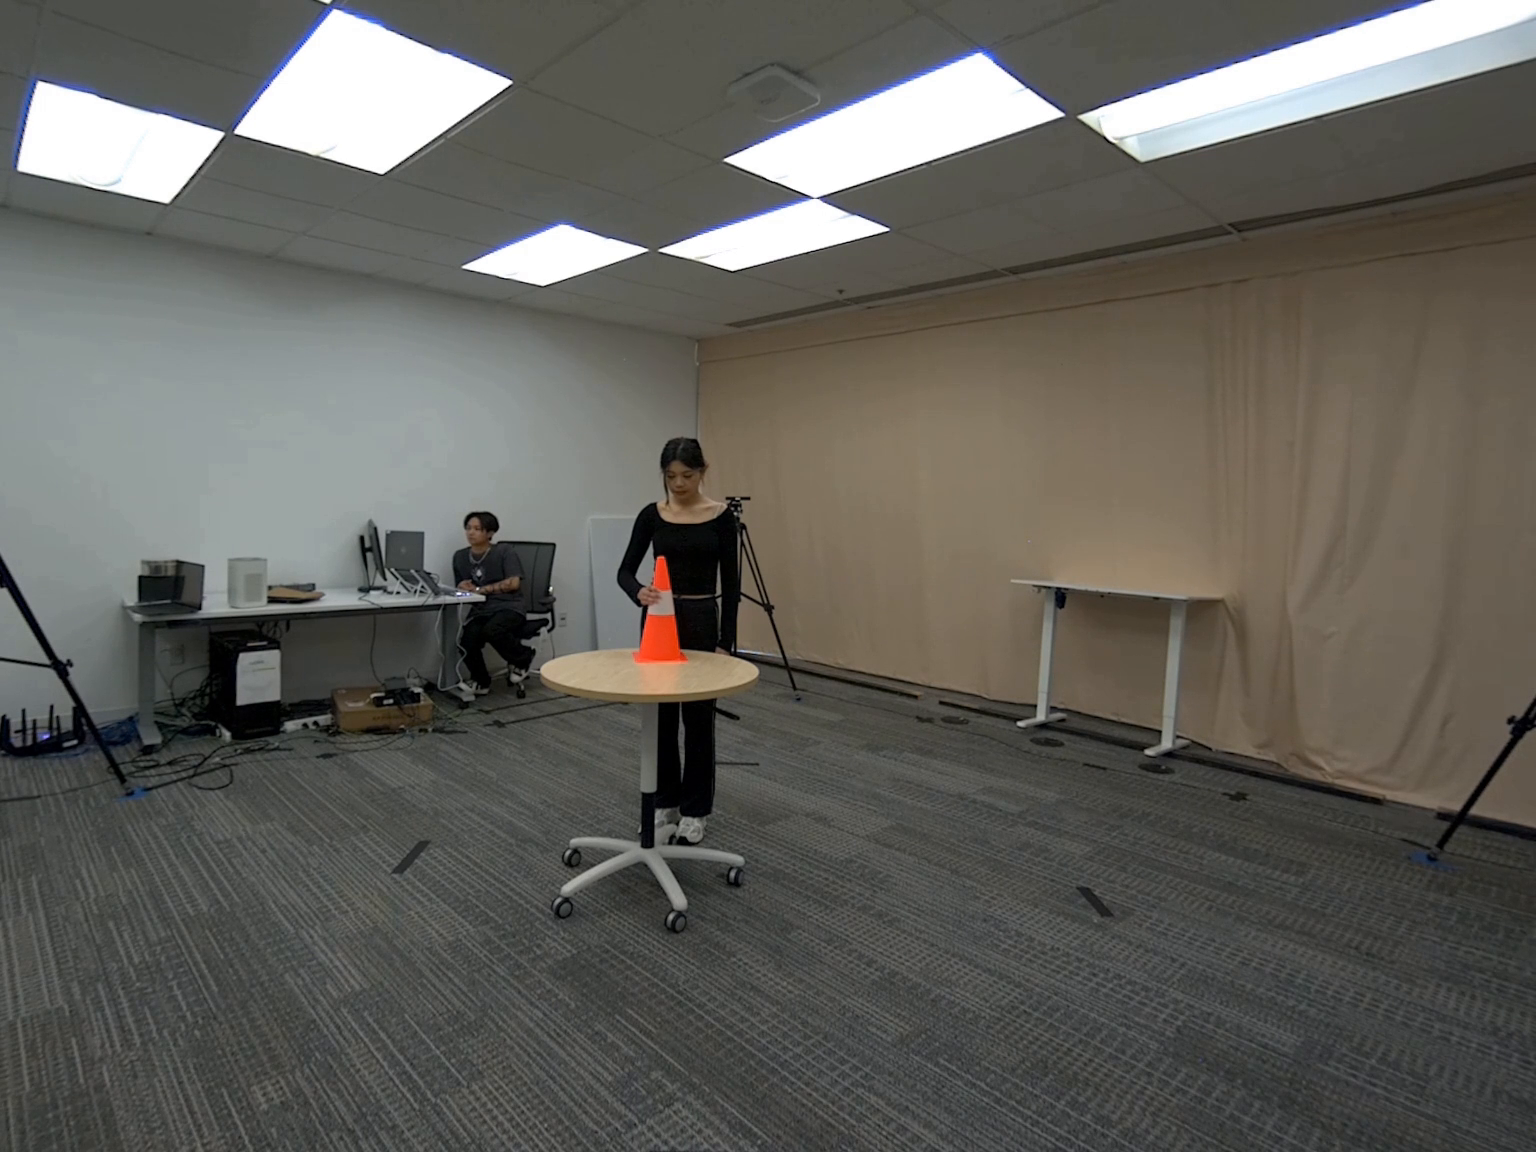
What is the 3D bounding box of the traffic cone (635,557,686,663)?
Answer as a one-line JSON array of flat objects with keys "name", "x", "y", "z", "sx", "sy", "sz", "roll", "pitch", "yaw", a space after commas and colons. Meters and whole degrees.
[{"name": "traffic cone", "x": -0.421, "y": 0.122, "z": 3.177, "sx": 0.204, "sy": 0.383, "sz": 0.204, "roll": 1, "pitch": 2, "yaw": -3}]
